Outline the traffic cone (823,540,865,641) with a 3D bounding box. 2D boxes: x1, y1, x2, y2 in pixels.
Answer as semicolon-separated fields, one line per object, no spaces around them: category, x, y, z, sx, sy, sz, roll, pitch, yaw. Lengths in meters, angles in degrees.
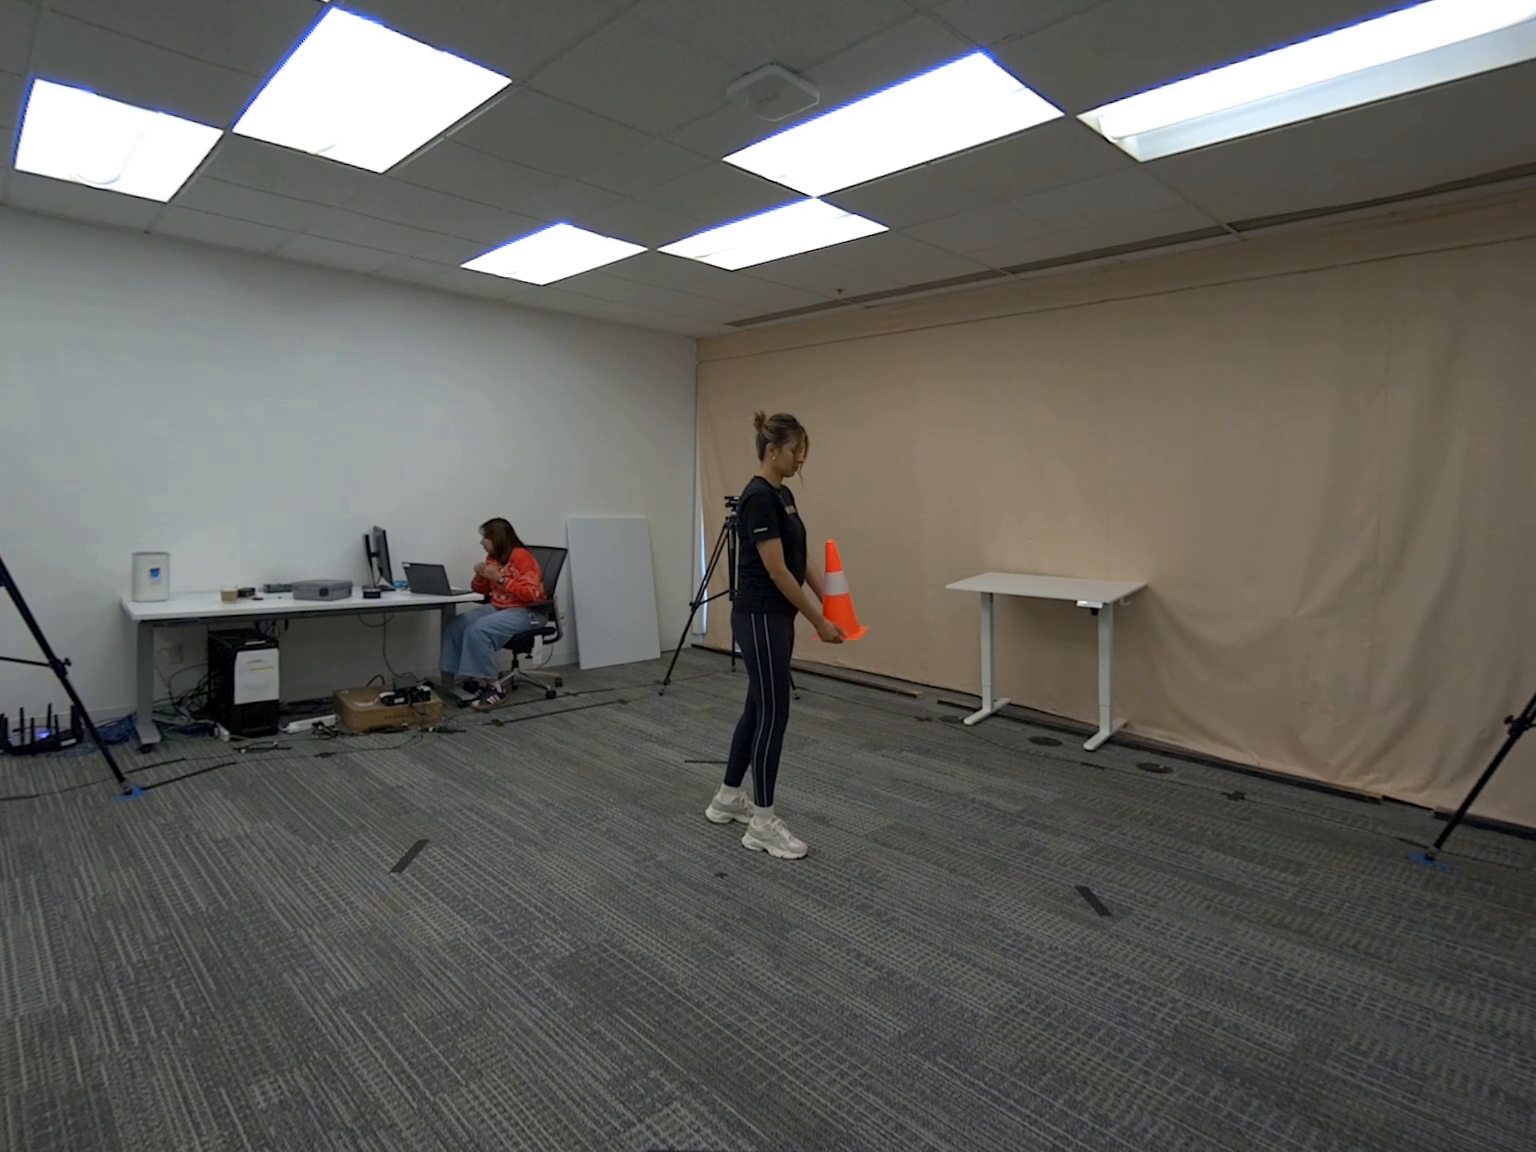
traffic cone;0.257;0.041;3.403;0.207;0.381;0.202;-4;7;13
